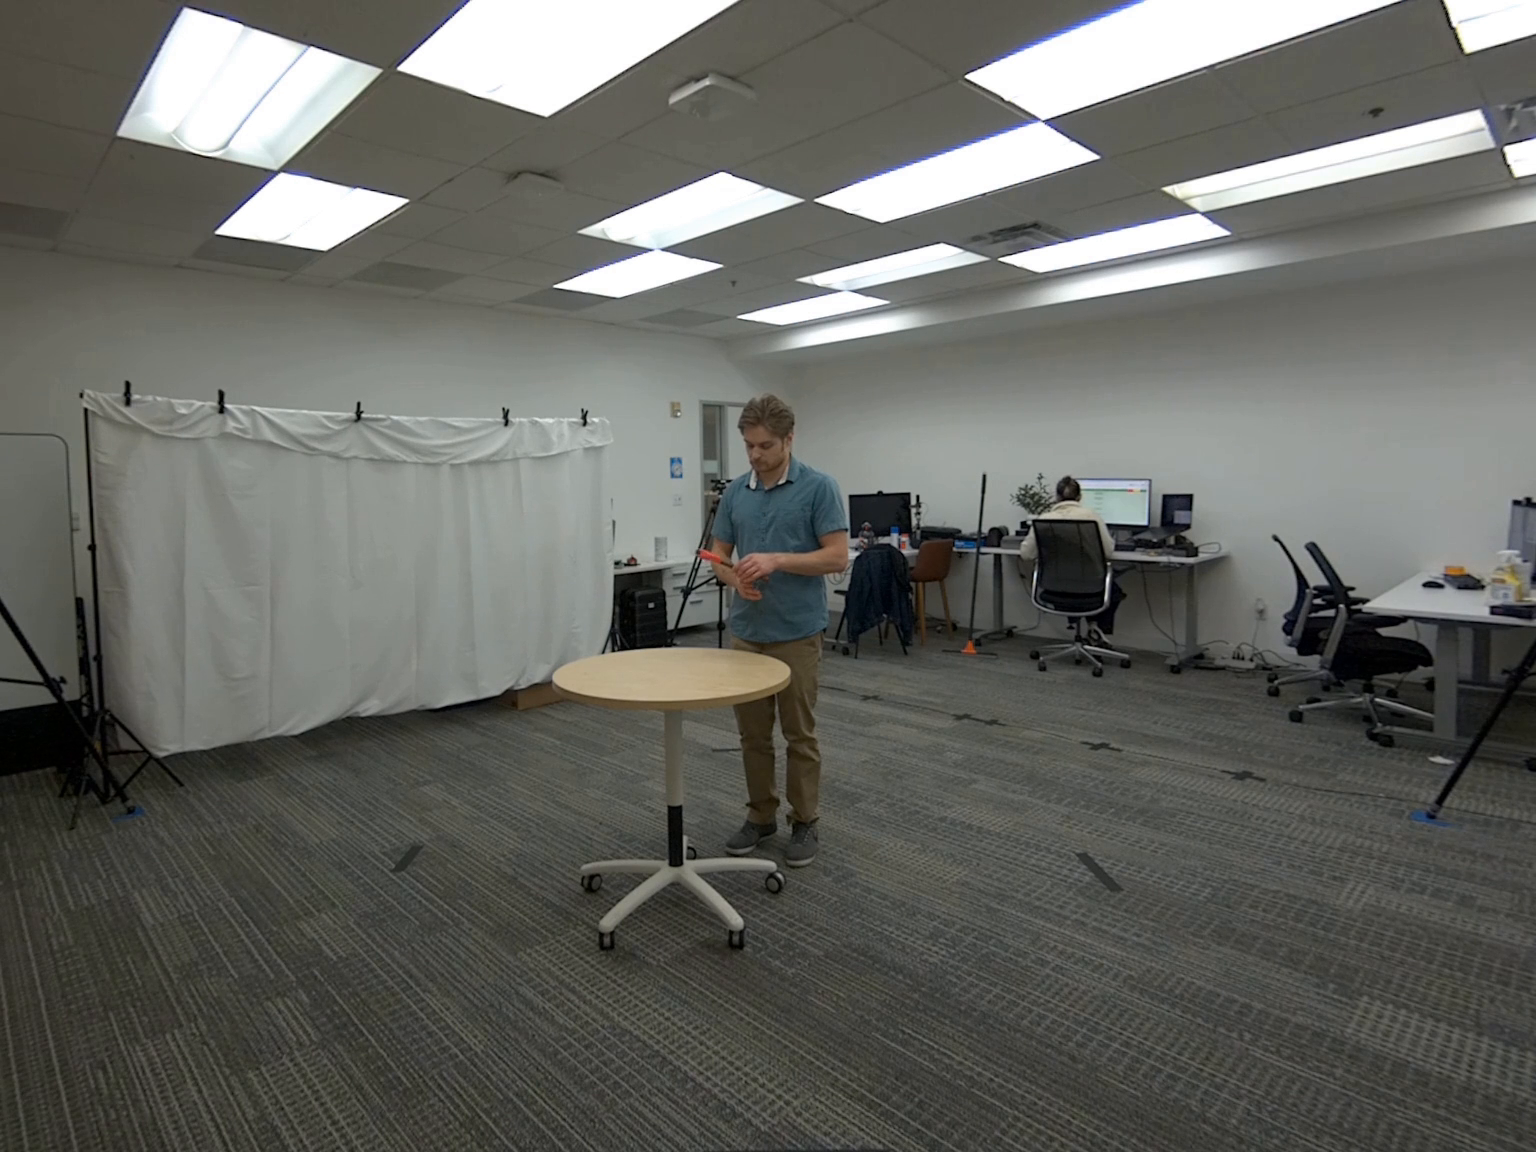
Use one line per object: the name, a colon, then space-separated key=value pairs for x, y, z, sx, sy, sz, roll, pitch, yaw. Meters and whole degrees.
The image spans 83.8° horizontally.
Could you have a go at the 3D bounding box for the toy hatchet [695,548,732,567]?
toy hatchet: x=-0.109 y=-0.036 z=2.919 sx=0.271 sy=0.030 sz=0.130 roll=22 pitch=-5 yaw=1
